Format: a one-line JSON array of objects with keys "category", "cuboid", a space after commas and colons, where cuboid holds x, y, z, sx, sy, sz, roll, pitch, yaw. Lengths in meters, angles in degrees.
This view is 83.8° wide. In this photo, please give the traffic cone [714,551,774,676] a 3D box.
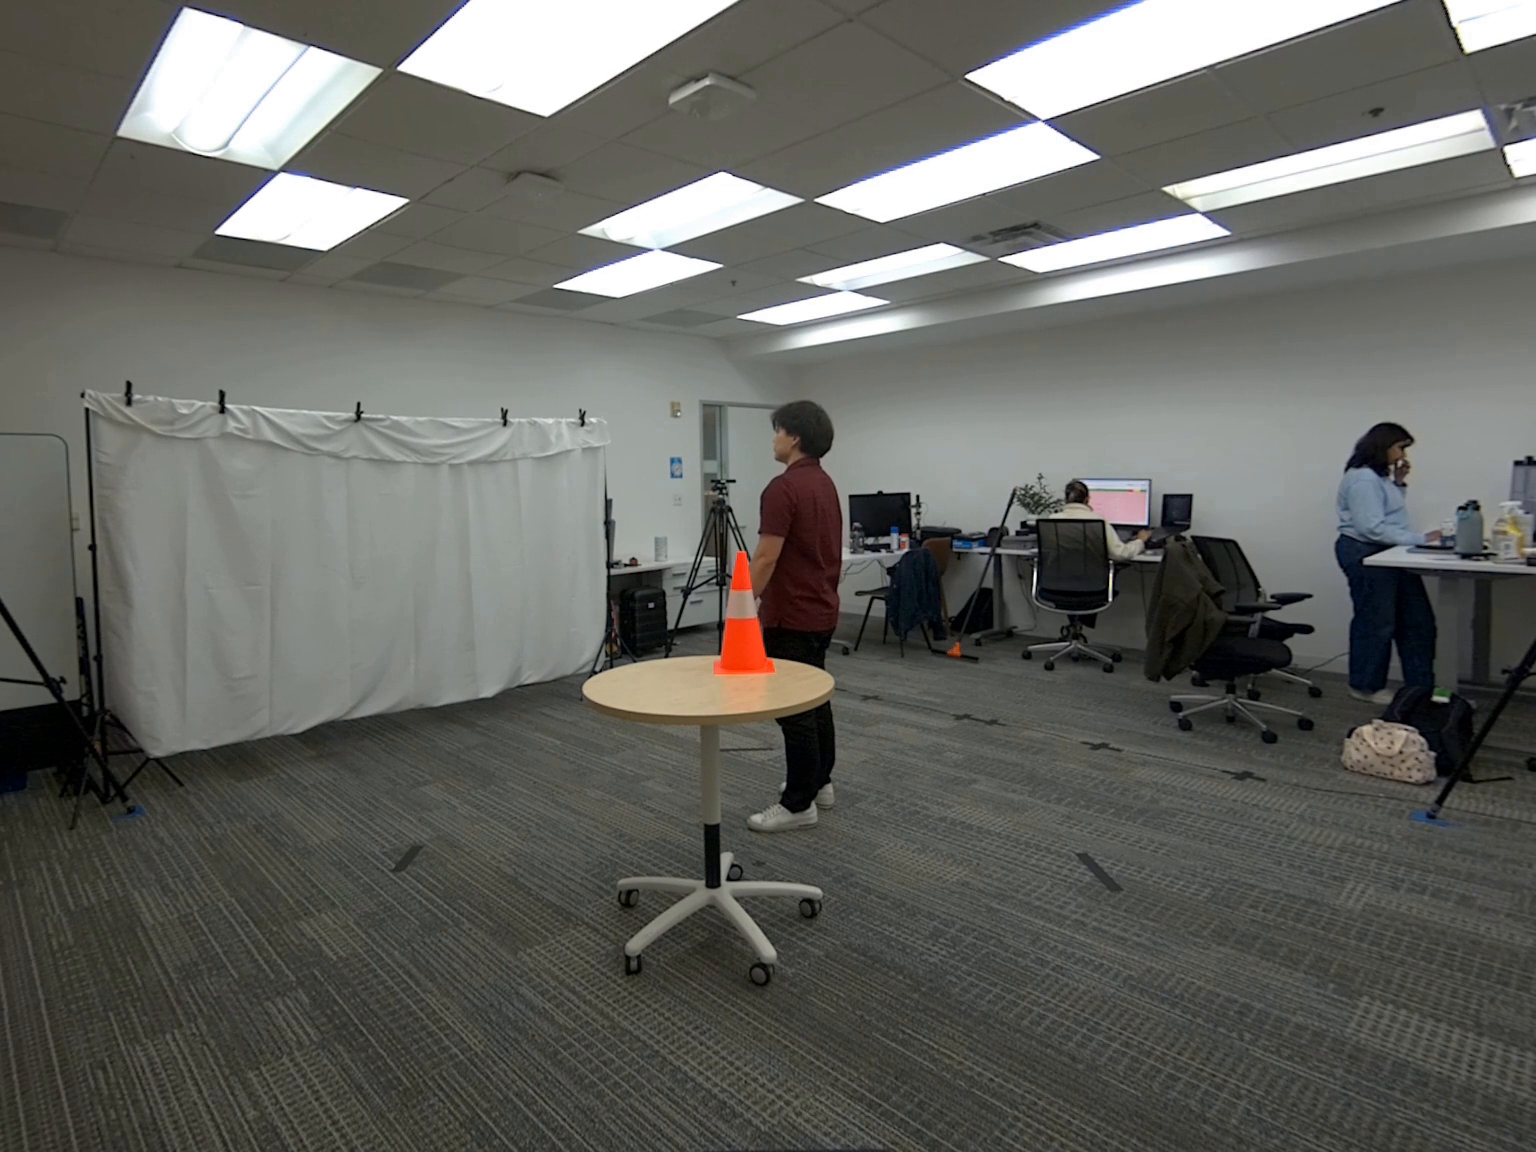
[{"category": "traffic cone", "cuboid": [-0.079, 0.107, 2.807, 0.200, 0.384, 0.207, 1, -2, -15]}]
